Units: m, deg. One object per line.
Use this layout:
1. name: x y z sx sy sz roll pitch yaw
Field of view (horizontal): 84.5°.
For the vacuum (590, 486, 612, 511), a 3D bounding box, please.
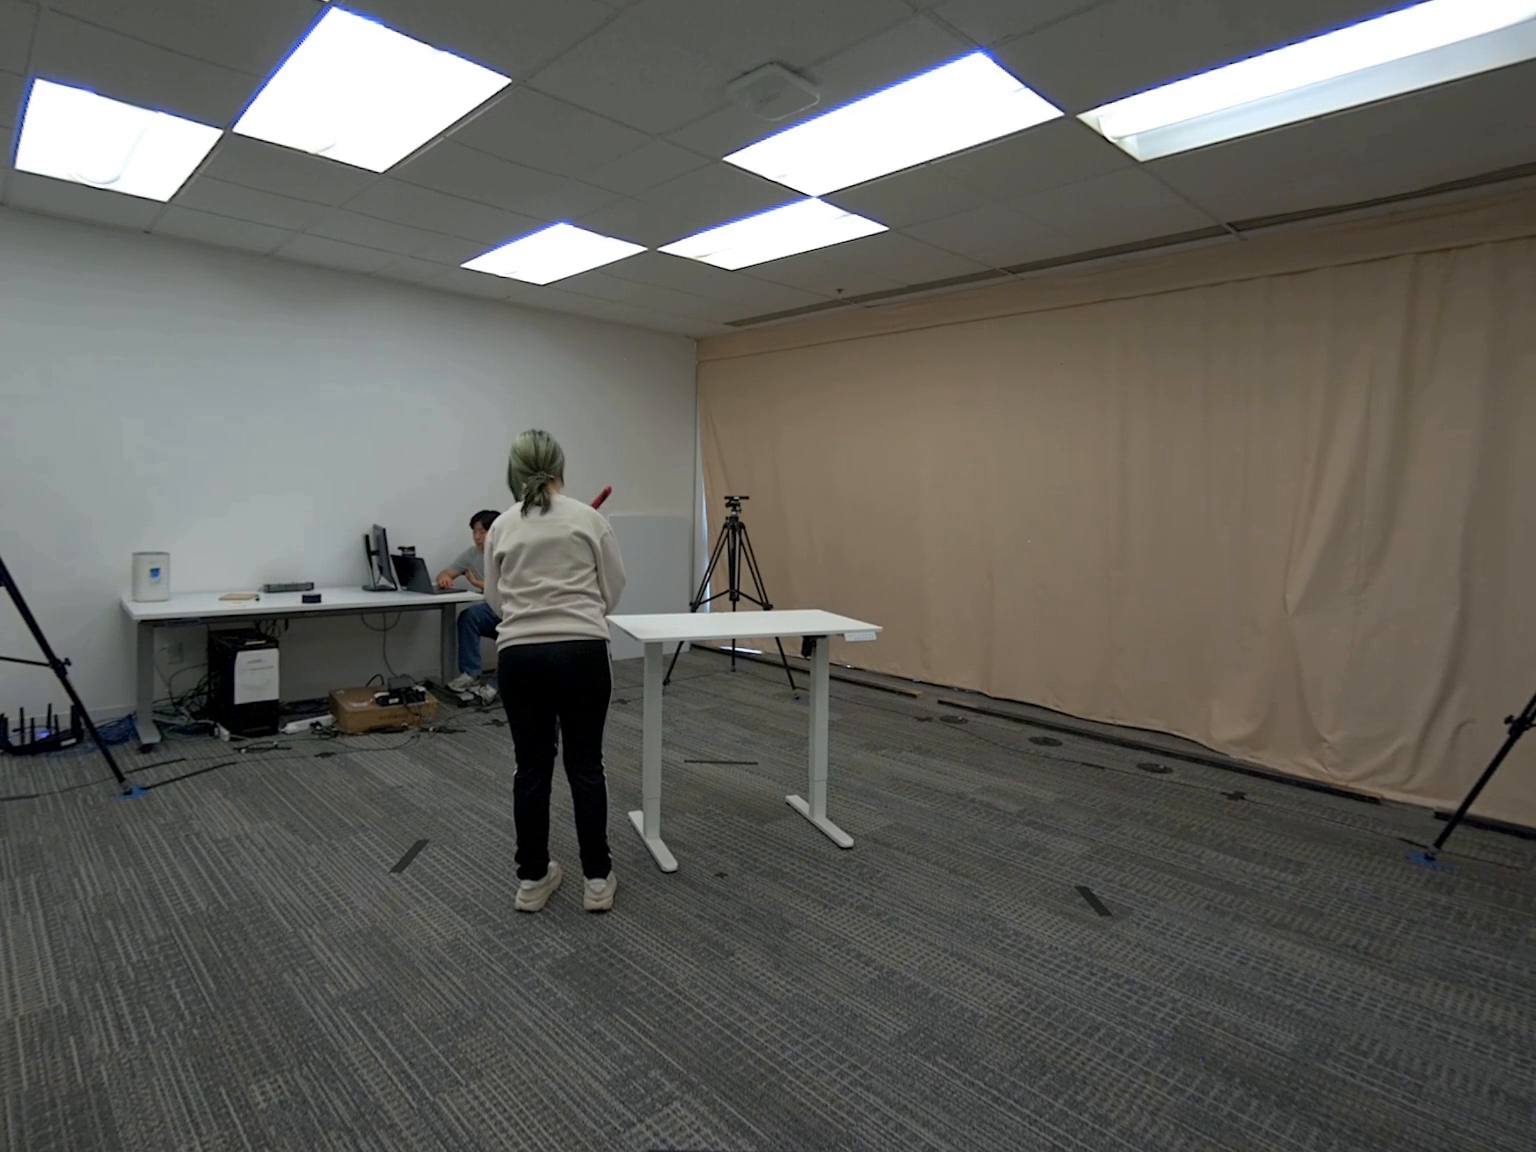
1. vacuum: -0.749 0.188 3.193 0.141 1.048 0.258 14 1 -23
